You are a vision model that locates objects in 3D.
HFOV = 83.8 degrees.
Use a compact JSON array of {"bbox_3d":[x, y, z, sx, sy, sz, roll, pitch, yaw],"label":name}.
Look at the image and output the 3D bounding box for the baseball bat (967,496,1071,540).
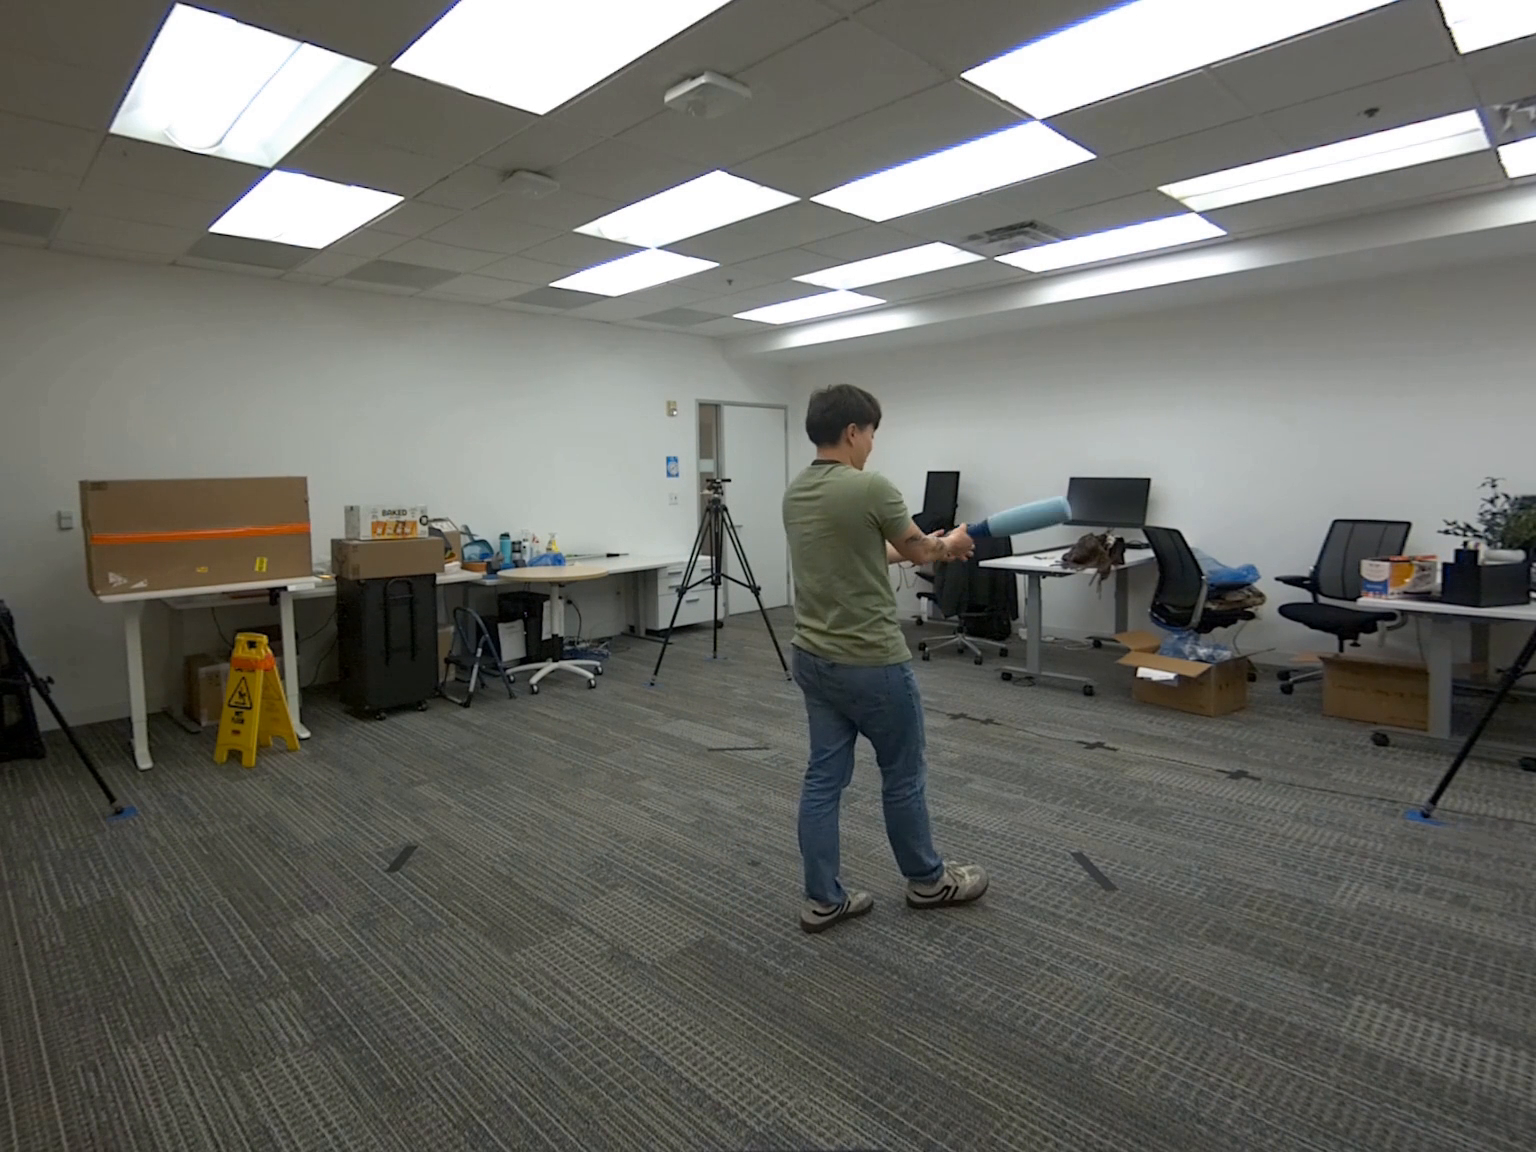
[{"bbox_3d":[0.723,-0.150,2.840,0.553,0.089,0.087,-15,-4,34],"label":"baseball bat"}]
